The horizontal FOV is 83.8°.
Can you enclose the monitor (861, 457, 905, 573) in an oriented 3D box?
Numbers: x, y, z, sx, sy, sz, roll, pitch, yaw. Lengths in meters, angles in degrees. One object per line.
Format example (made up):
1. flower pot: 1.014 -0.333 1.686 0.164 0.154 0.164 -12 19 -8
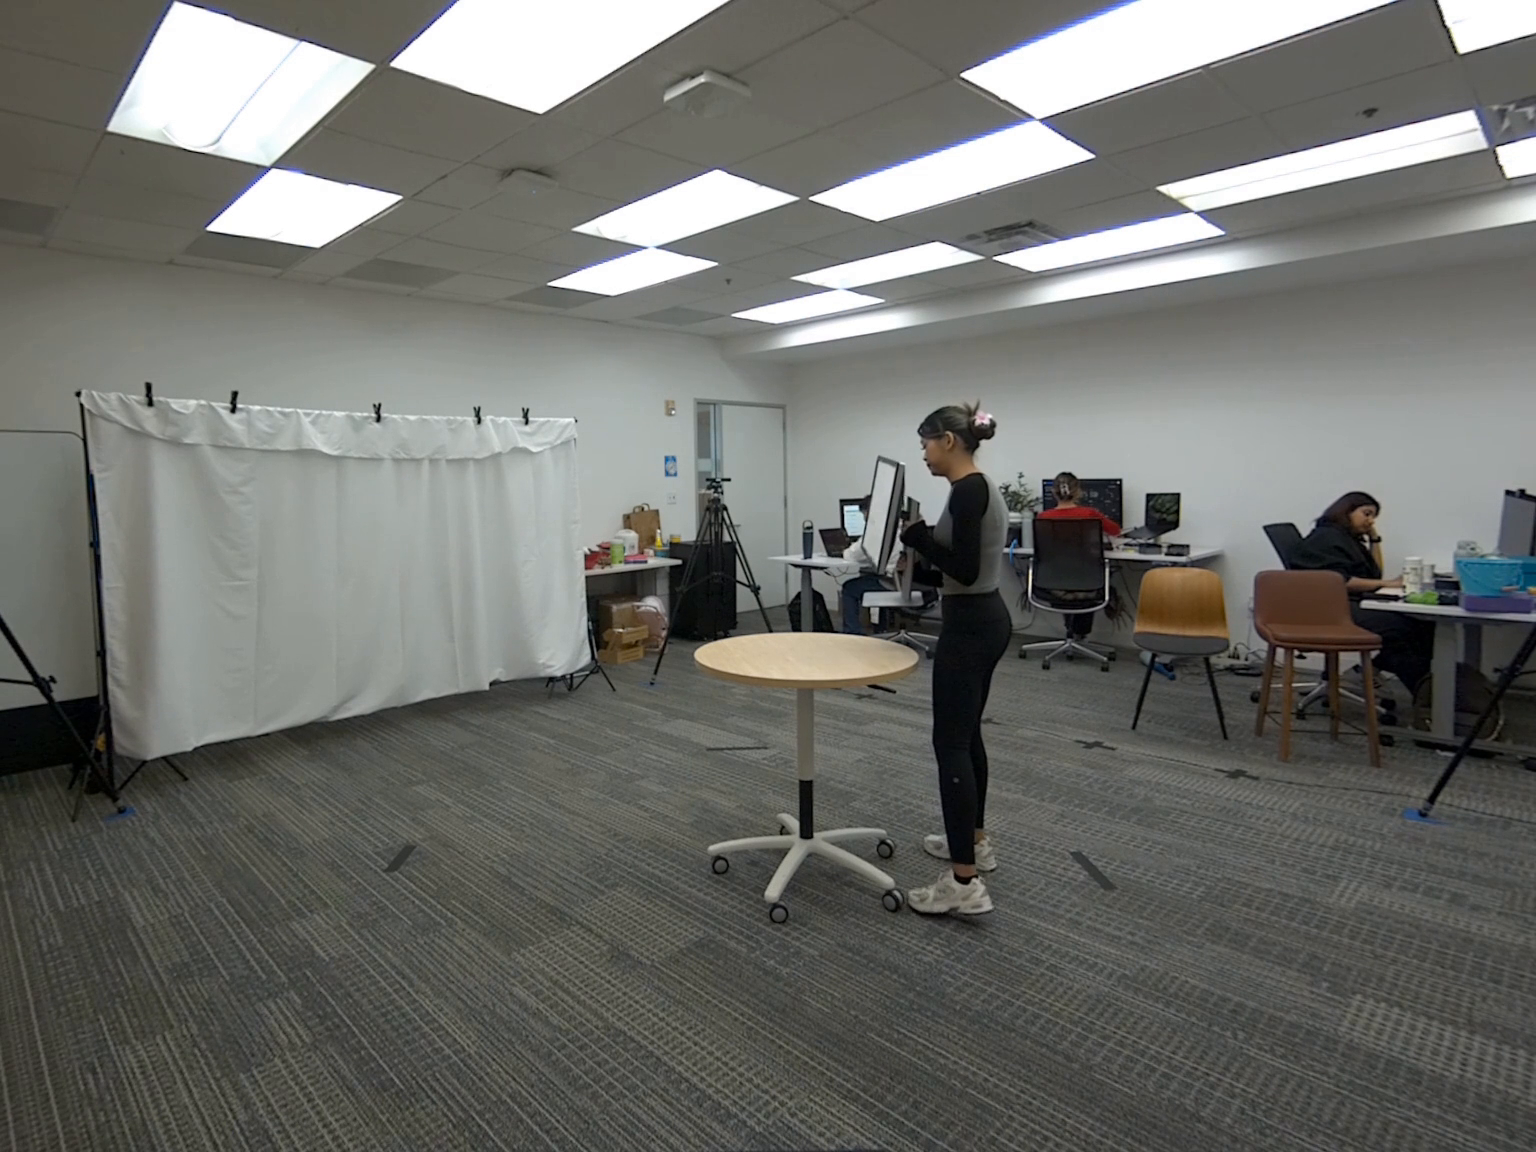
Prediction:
1. monitor: 0.448 -0.153 2.999 0.187 0.518 0.543 -4 9 0
